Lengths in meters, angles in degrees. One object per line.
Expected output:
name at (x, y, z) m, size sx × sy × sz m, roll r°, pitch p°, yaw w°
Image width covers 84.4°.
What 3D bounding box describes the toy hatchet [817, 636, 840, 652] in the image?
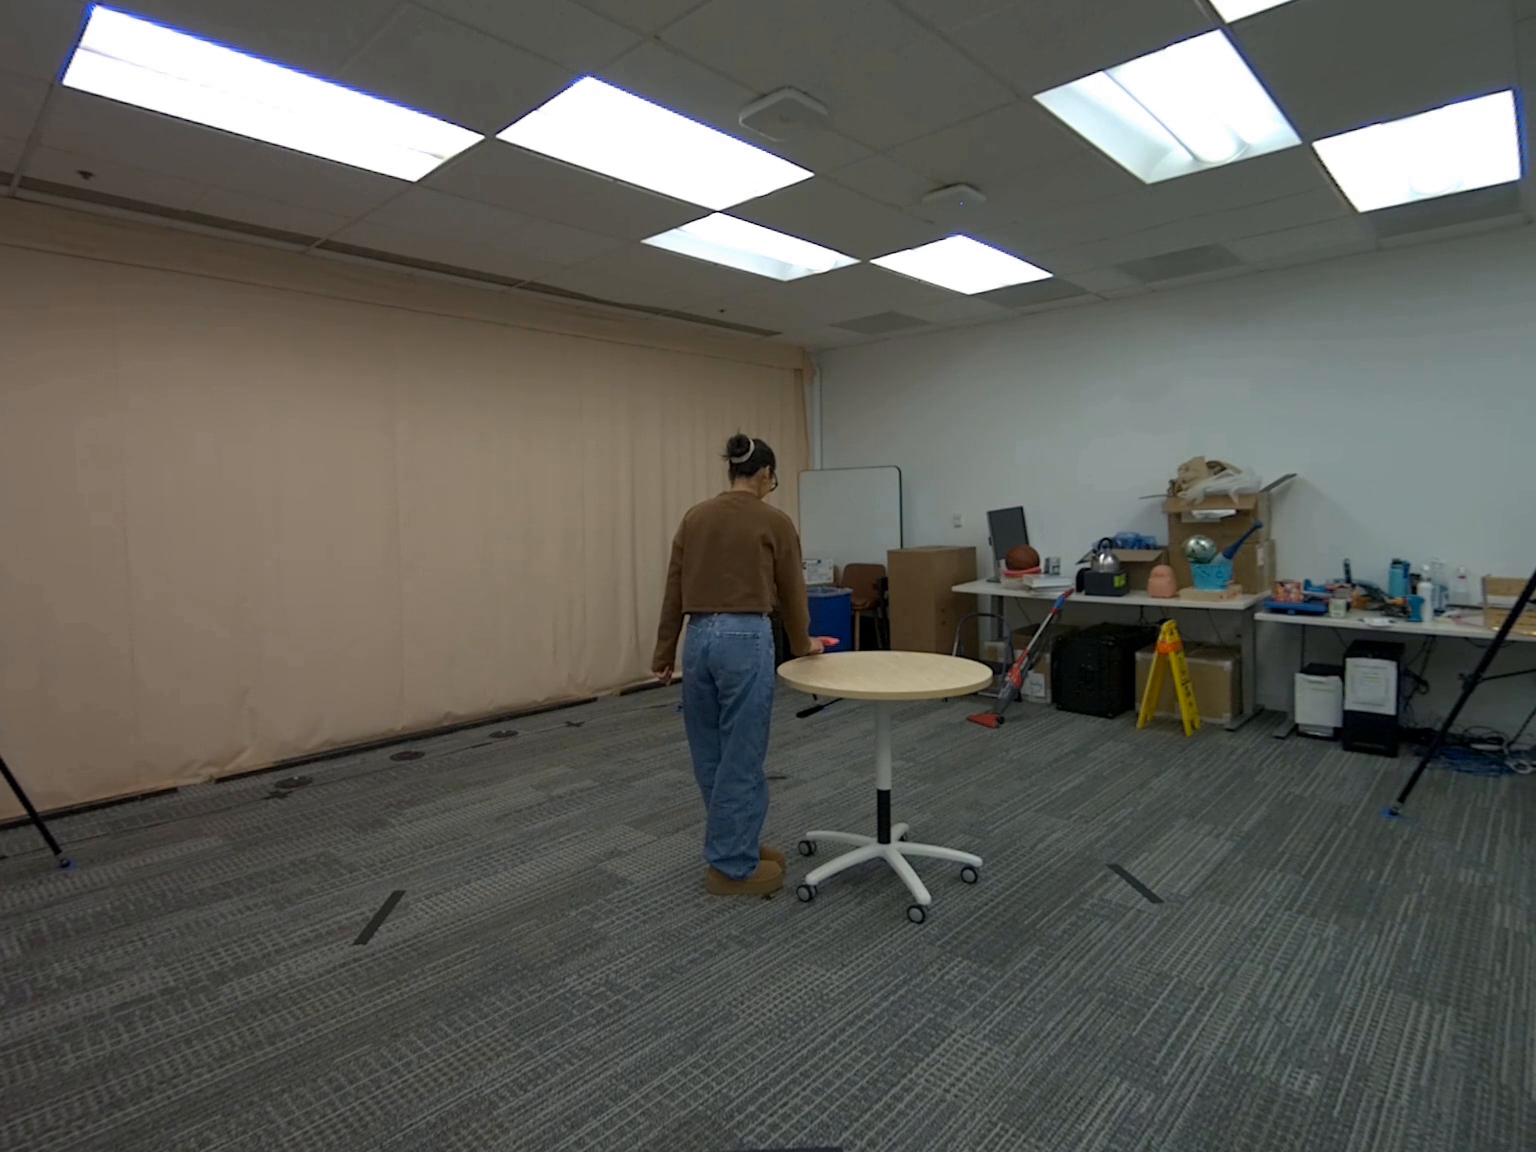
toy hatchet at (0.184, 0.297, 3.411) m, size 0.134 × 0.029 × 0.265 m, roll -5°, pitch 7°, yaw 26°
